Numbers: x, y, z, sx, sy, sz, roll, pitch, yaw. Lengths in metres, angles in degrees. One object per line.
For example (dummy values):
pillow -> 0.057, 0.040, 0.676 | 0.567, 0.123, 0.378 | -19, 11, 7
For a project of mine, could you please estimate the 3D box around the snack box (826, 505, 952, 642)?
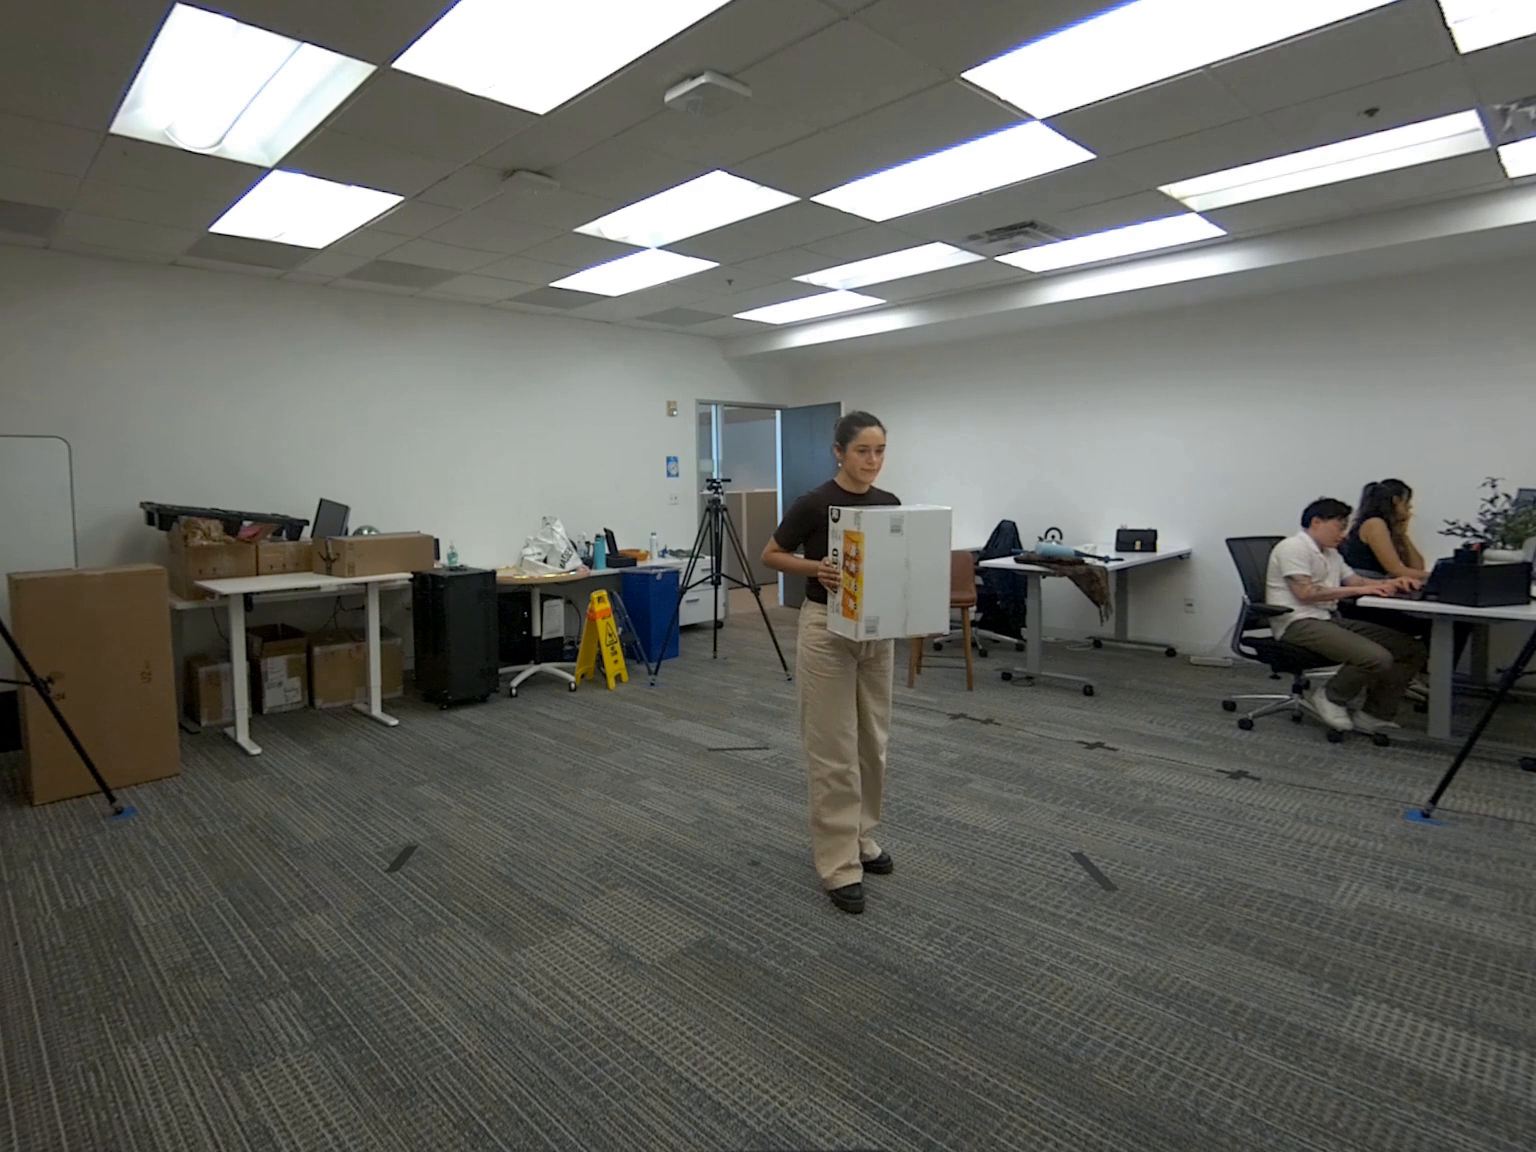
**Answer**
snack box -> 0.392, -0.021, 2.751 | 0.334, 0.403, 0.211 | -3, 6, -23
